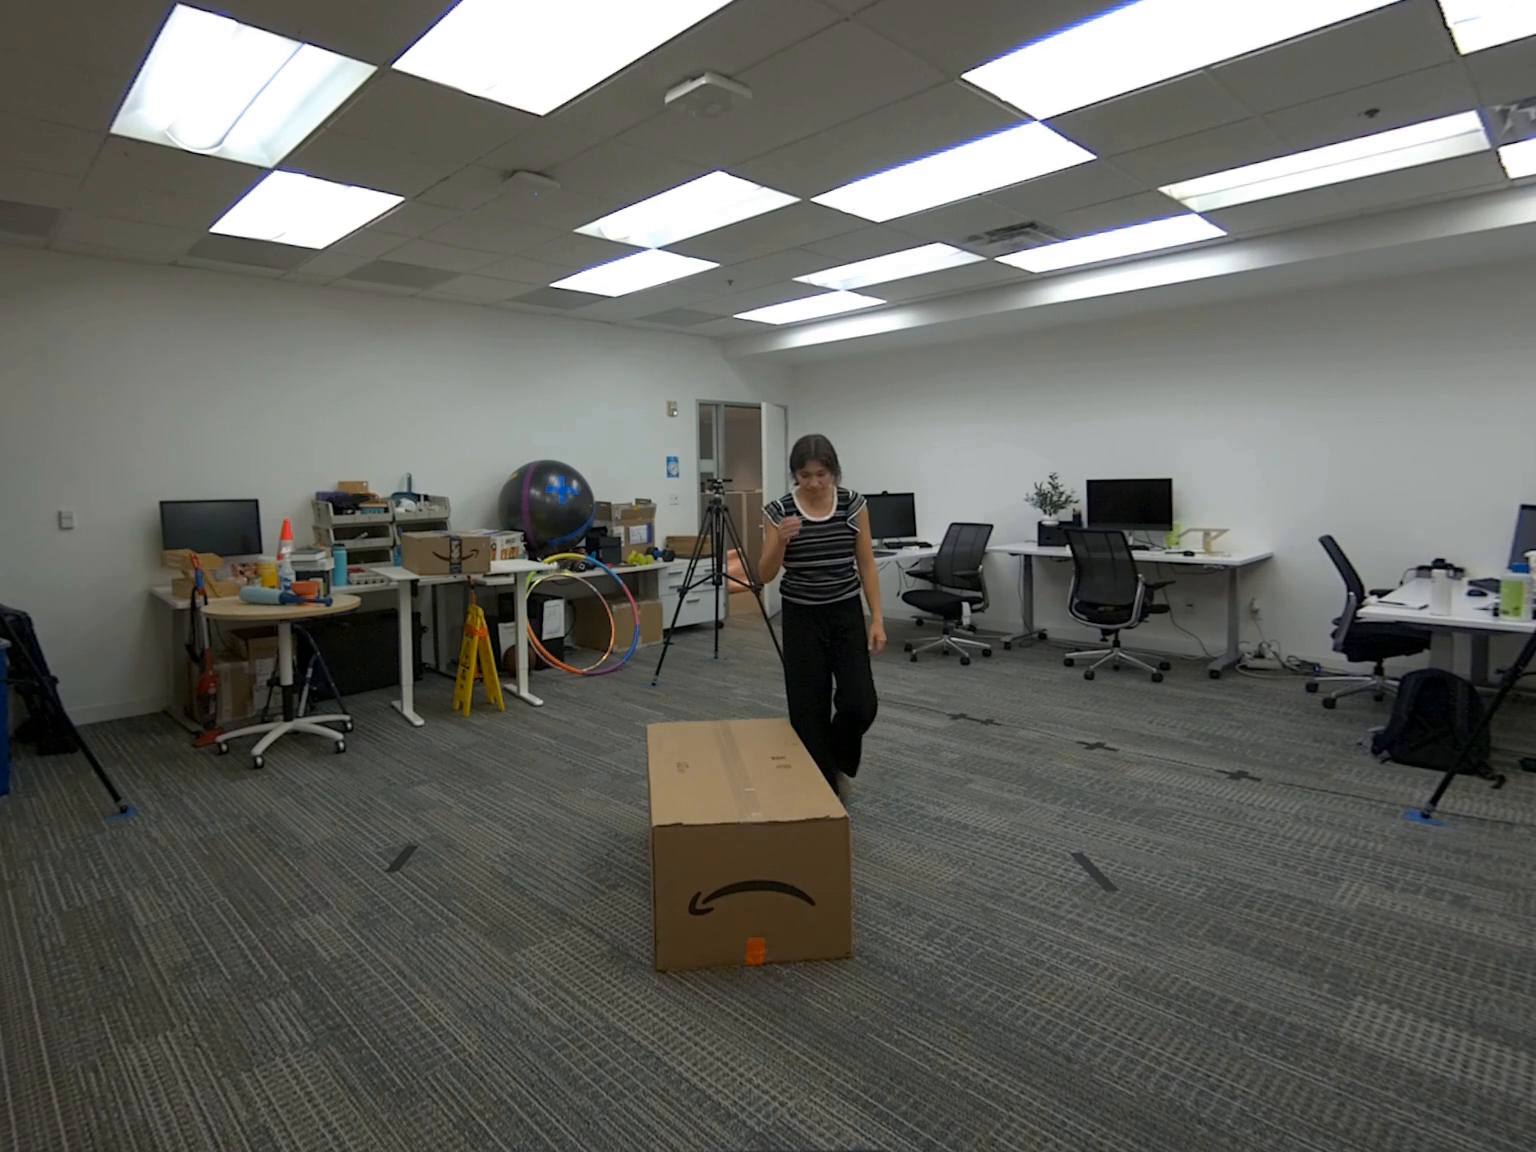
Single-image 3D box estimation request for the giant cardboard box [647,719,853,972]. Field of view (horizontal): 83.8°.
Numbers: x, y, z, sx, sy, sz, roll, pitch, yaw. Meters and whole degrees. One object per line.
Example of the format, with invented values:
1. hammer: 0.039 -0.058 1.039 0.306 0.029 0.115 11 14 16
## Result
1. giant cardboard box: -0.121 0.853 2.947 0.573 0.424 1.038 -1 6 -8
